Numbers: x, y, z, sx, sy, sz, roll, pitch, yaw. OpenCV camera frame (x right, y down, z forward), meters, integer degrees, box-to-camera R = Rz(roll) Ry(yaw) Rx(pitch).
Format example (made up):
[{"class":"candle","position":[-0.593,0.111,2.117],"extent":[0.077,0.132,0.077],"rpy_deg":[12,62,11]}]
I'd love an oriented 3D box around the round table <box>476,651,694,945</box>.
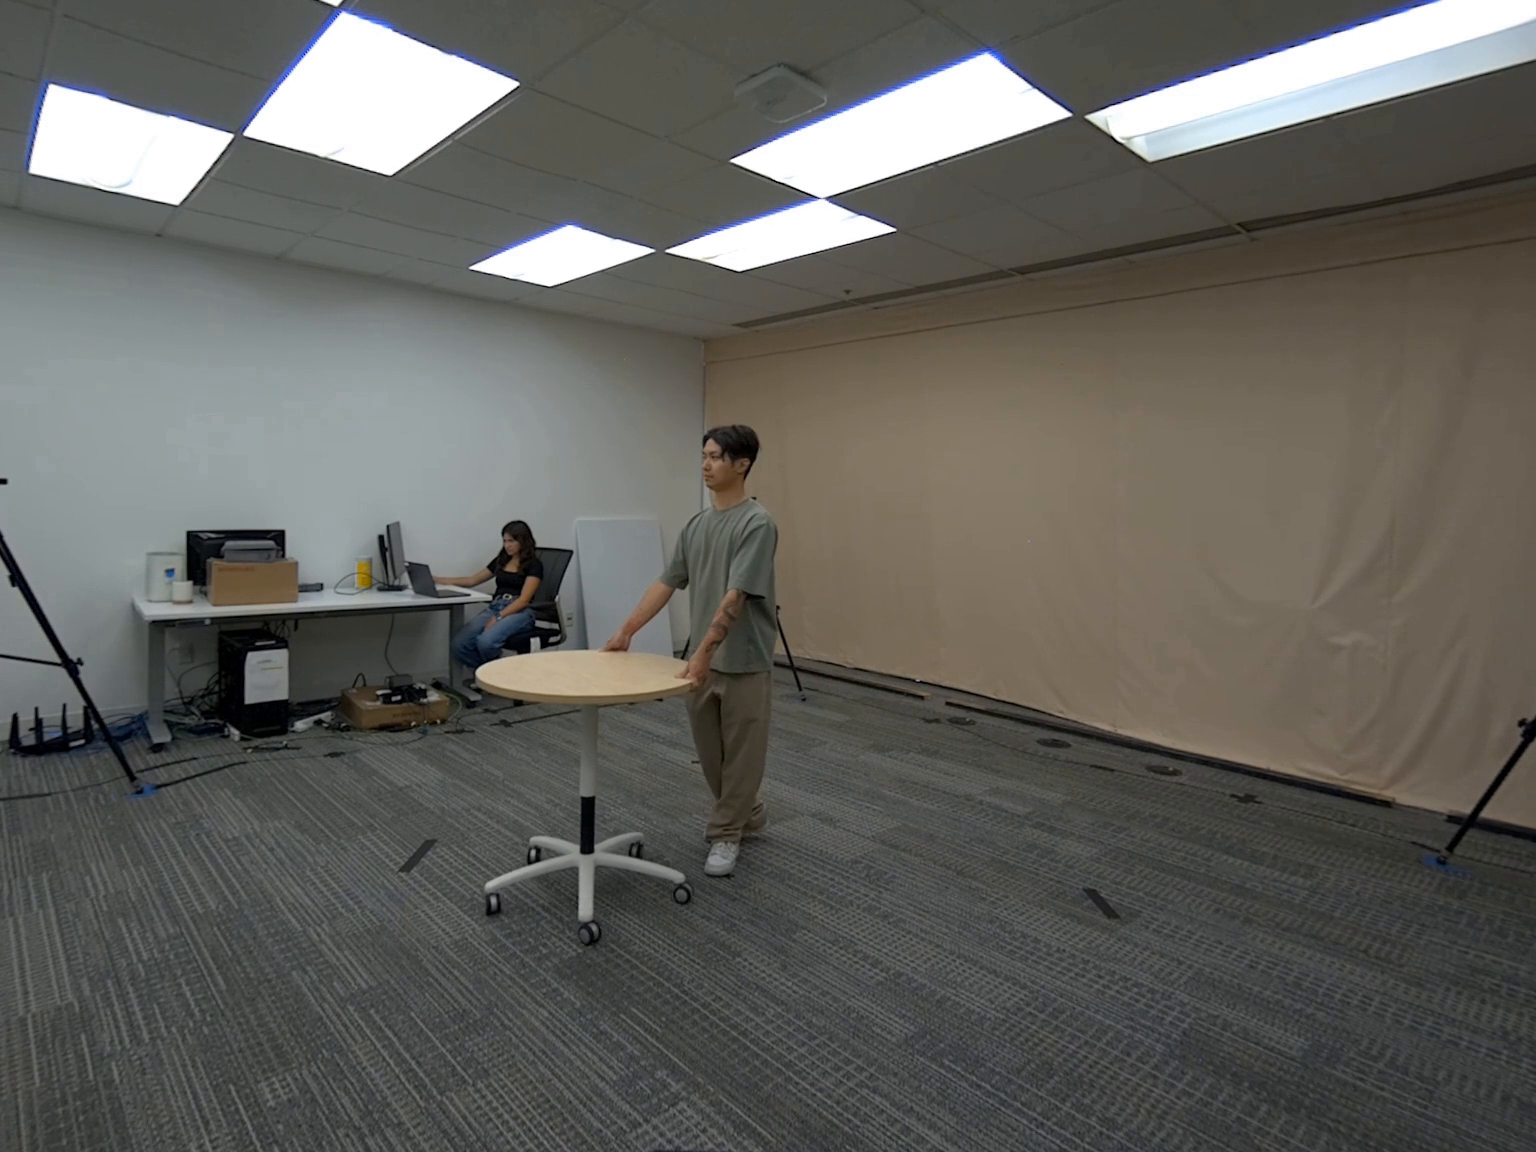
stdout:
[{"class":"round table","position":[-0.644,0.717,2.933],"extent":[0.784,0.784,0.788],"rpy_deg":[2,4,-1]}]
